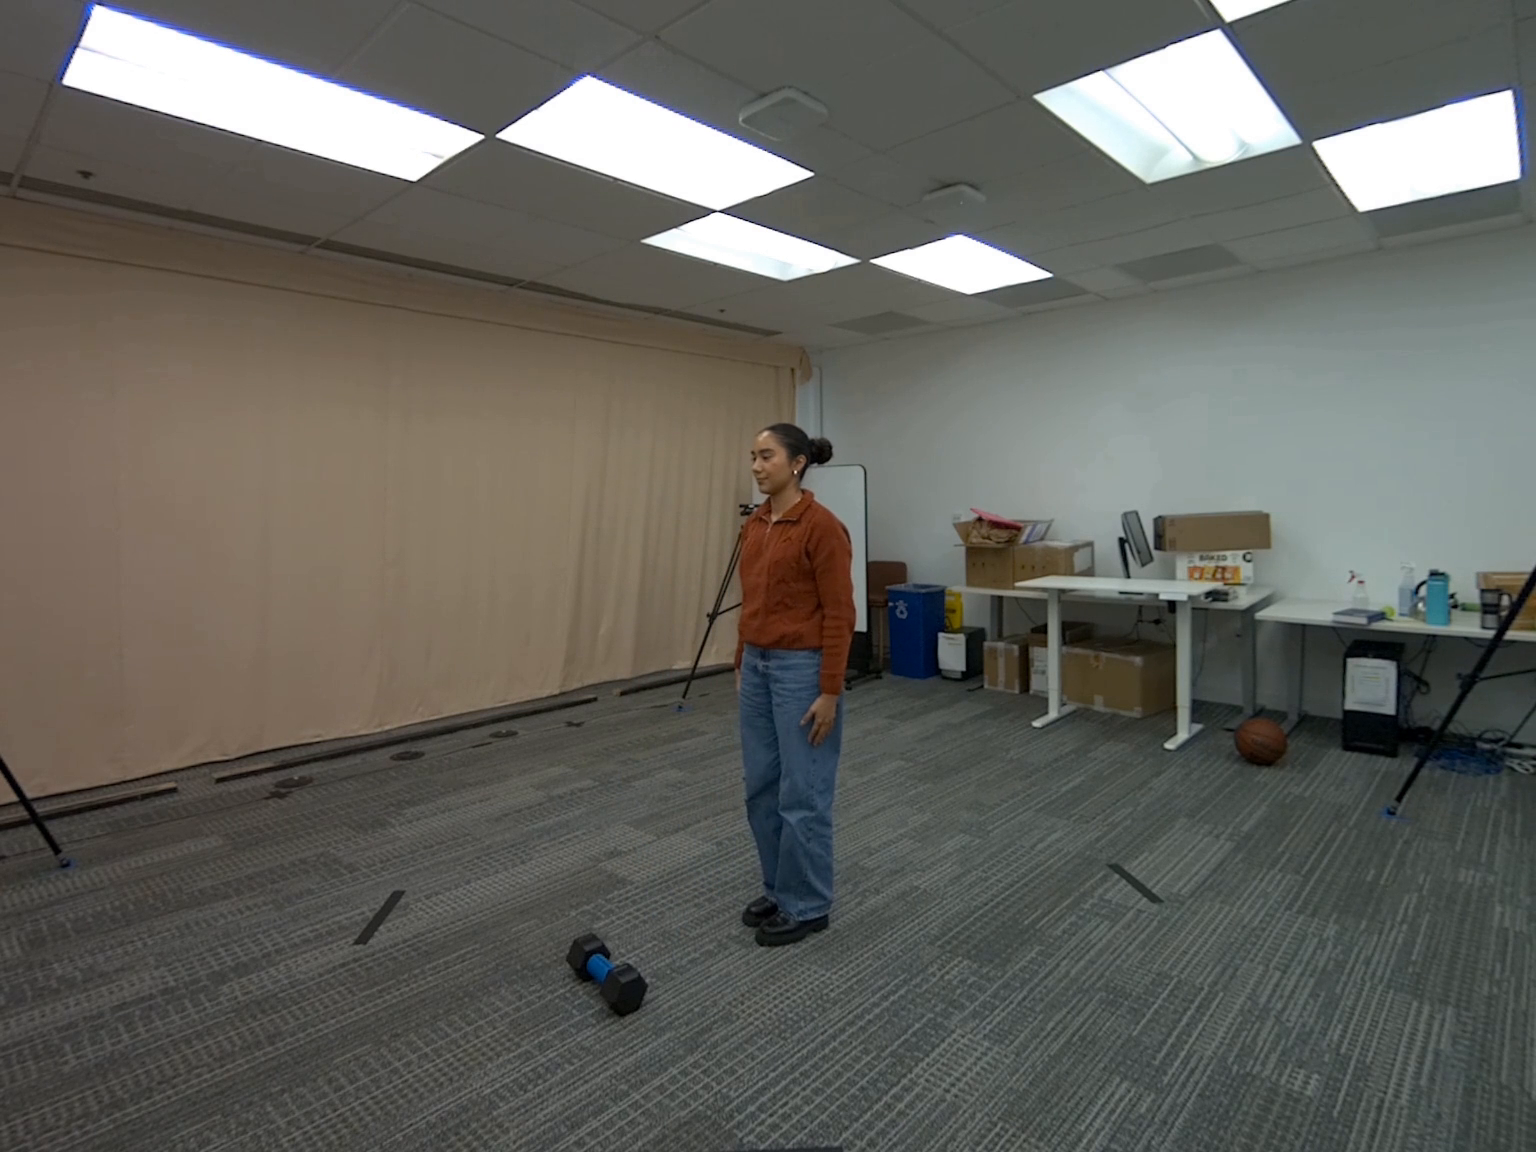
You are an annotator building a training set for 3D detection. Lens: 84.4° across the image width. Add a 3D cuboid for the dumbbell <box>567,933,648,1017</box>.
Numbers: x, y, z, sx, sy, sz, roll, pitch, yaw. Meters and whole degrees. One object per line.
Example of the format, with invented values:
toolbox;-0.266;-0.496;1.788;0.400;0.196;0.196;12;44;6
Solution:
dumbbell;-0.471;1.146;2.420;0.105;0.123;0.303;33;-17;-35
